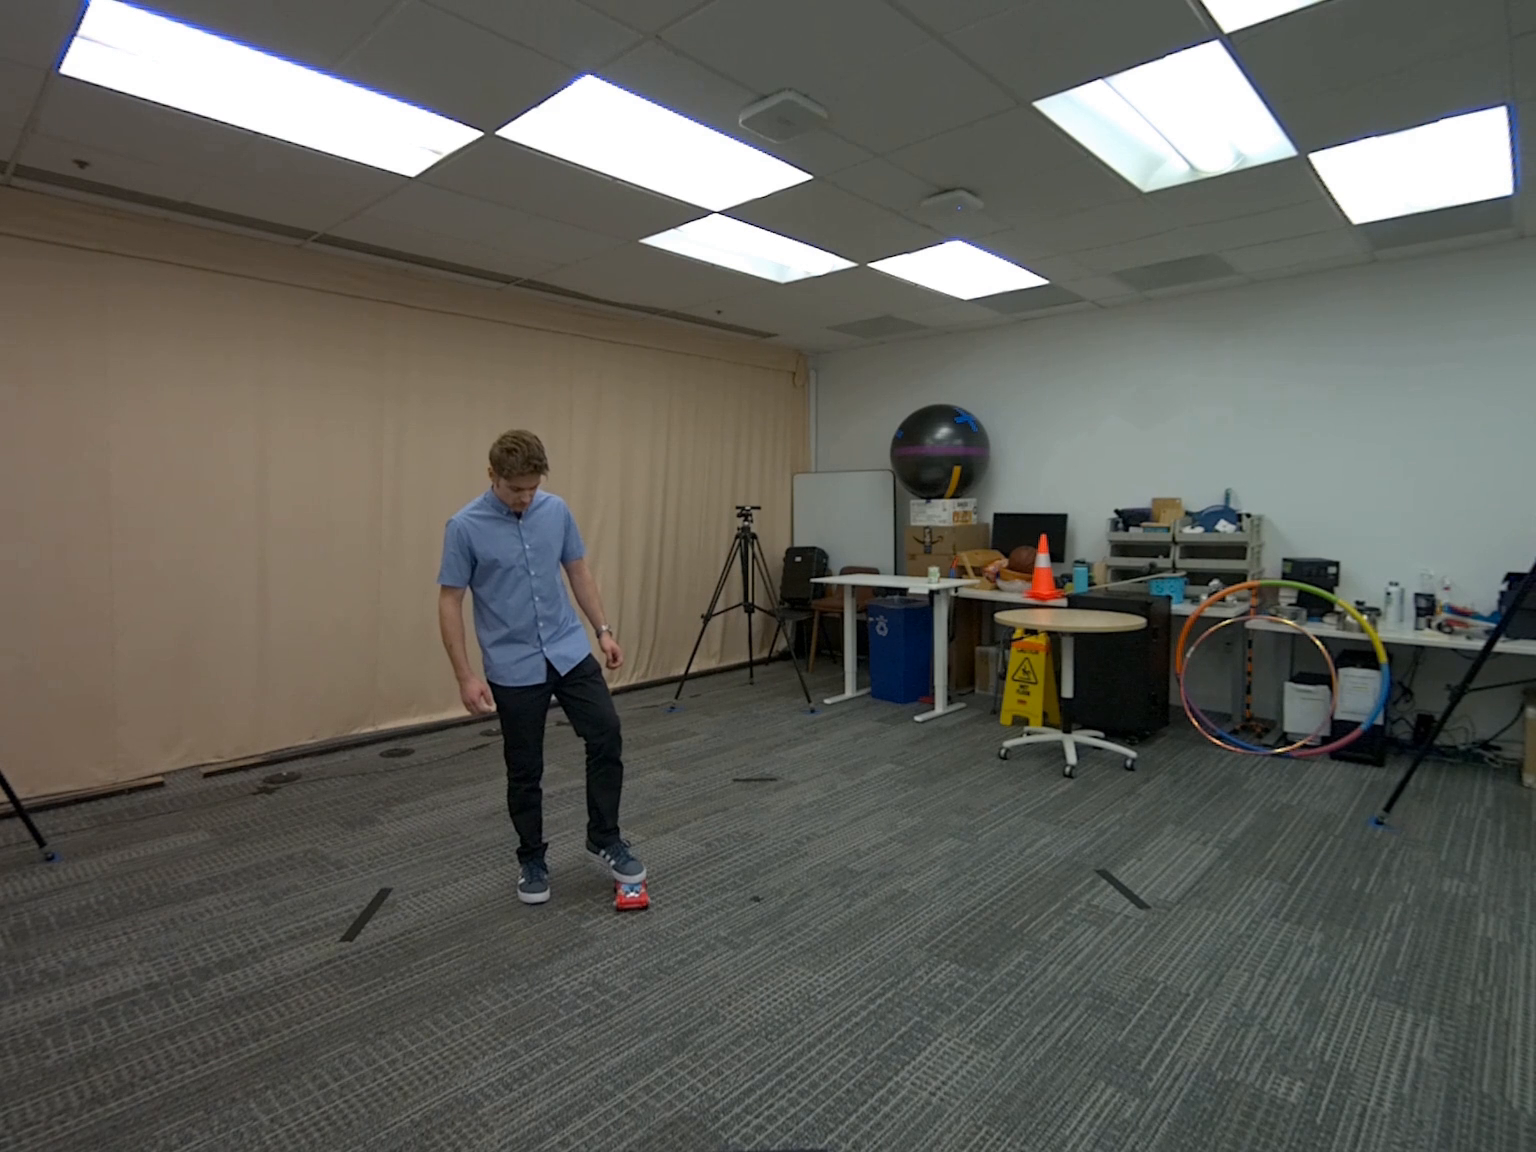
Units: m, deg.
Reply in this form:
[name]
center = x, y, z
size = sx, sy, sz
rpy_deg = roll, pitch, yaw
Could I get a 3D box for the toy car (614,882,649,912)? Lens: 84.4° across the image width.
[toy car]
center = -0.492, 1.117, 3.003
size = 0.129, 0.082, 0.259
rpy_deg = -2, 15, -9
